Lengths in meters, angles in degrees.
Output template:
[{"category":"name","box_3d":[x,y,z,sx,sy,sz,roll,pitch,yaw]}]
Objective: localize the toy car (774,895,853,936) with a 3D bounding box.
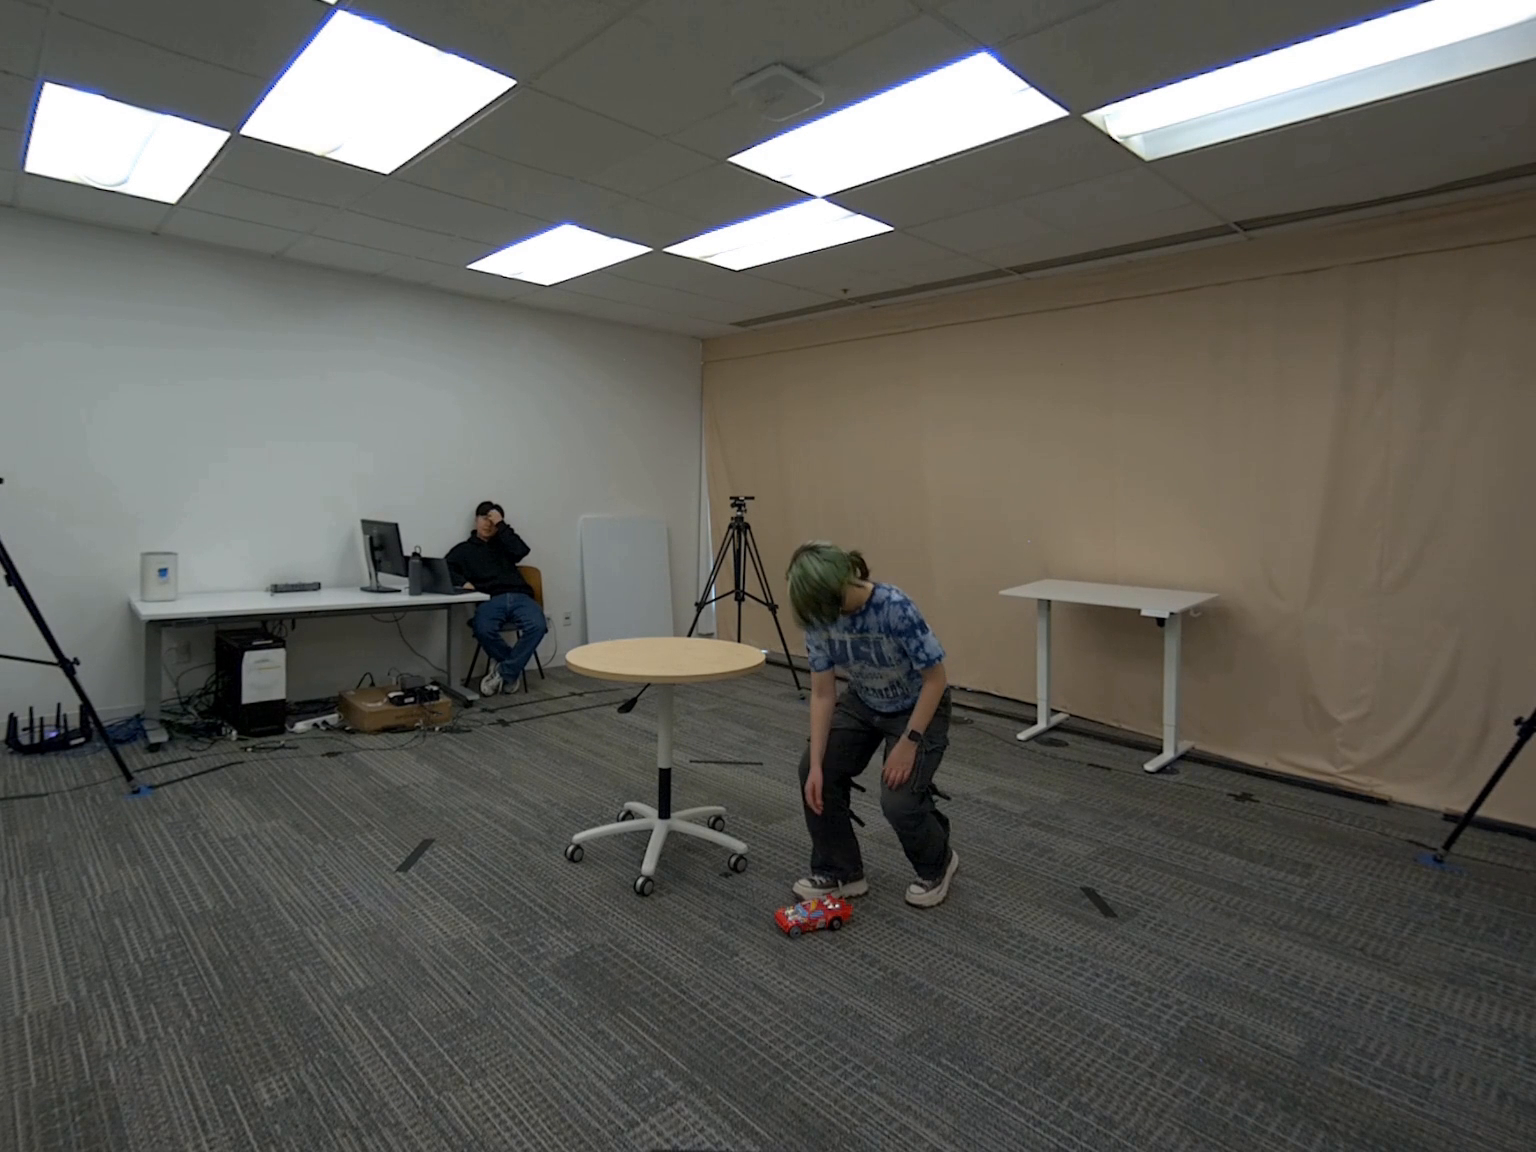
[{"category":"toy car","box_3d":[0.146,1.115,2.739,0.251,0.082,0.133,-12,10,-19]}]
